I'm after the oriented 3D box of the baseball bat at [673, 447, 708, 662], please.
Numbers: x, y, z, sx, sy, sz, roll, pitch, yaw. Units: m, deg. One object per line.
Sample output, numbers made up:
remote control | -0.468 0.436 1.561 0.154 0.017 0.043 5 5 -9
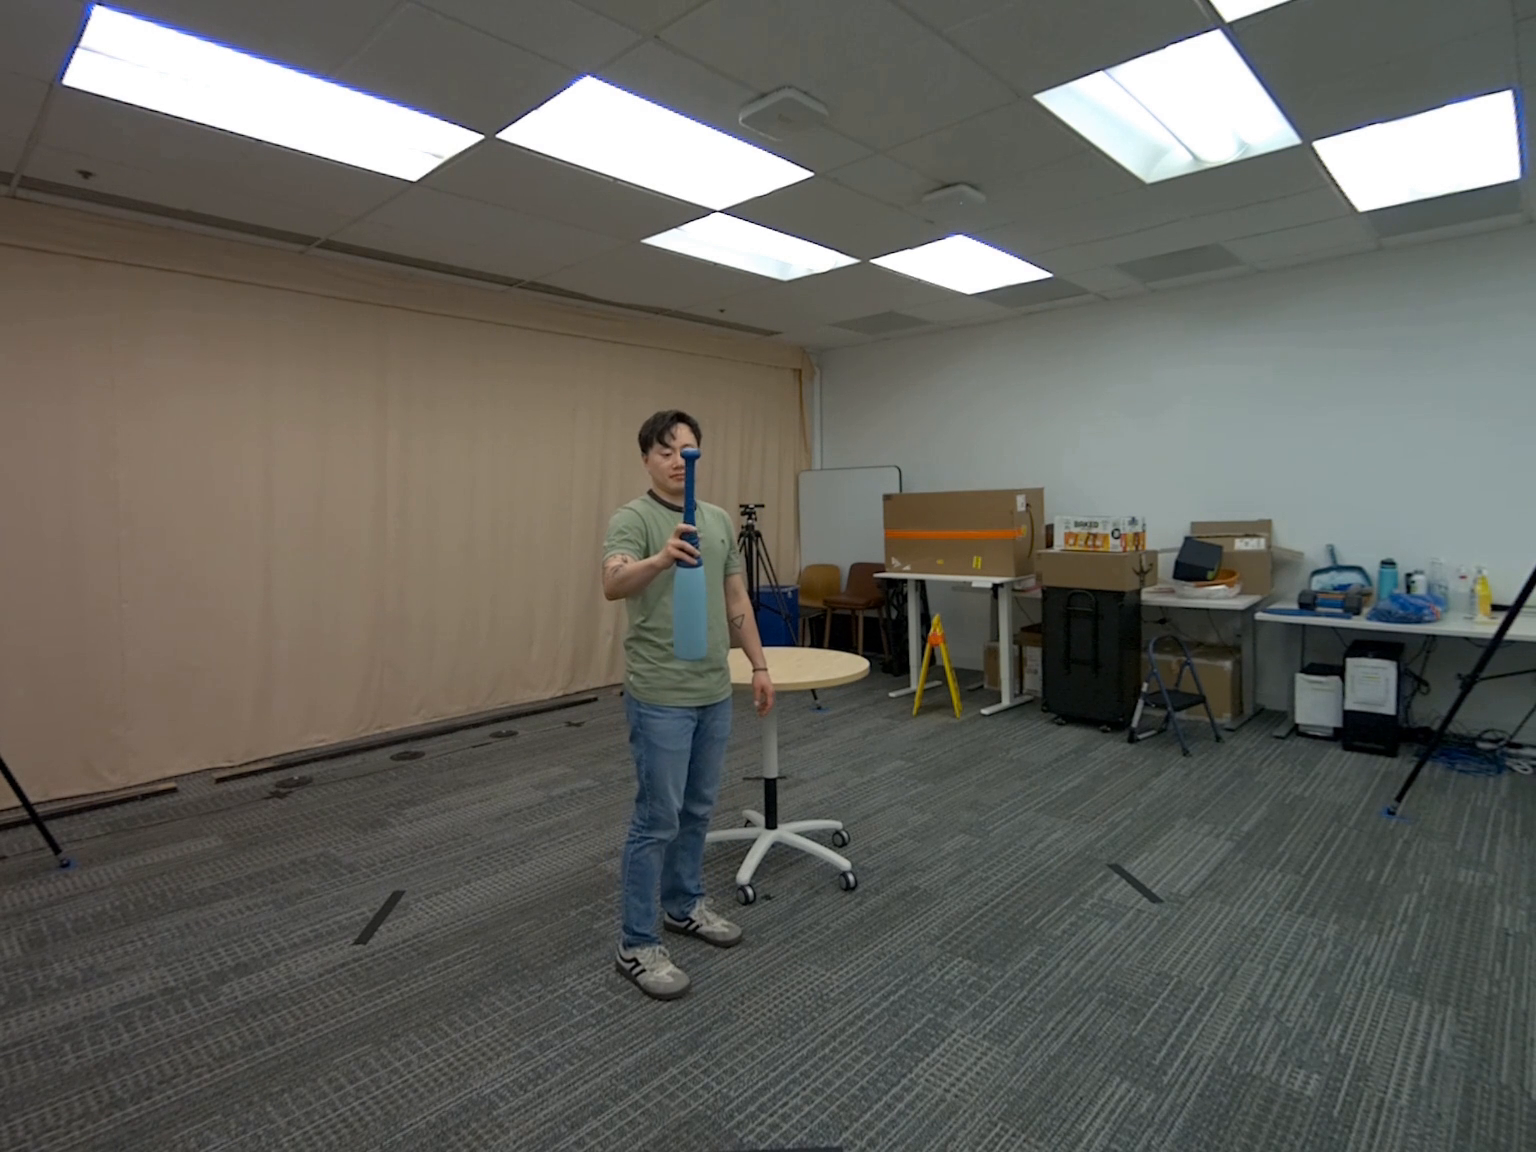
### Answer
baseball bat | -0.196 -0.050 2.095 0.089 0.538 0.090 3 15 -3
